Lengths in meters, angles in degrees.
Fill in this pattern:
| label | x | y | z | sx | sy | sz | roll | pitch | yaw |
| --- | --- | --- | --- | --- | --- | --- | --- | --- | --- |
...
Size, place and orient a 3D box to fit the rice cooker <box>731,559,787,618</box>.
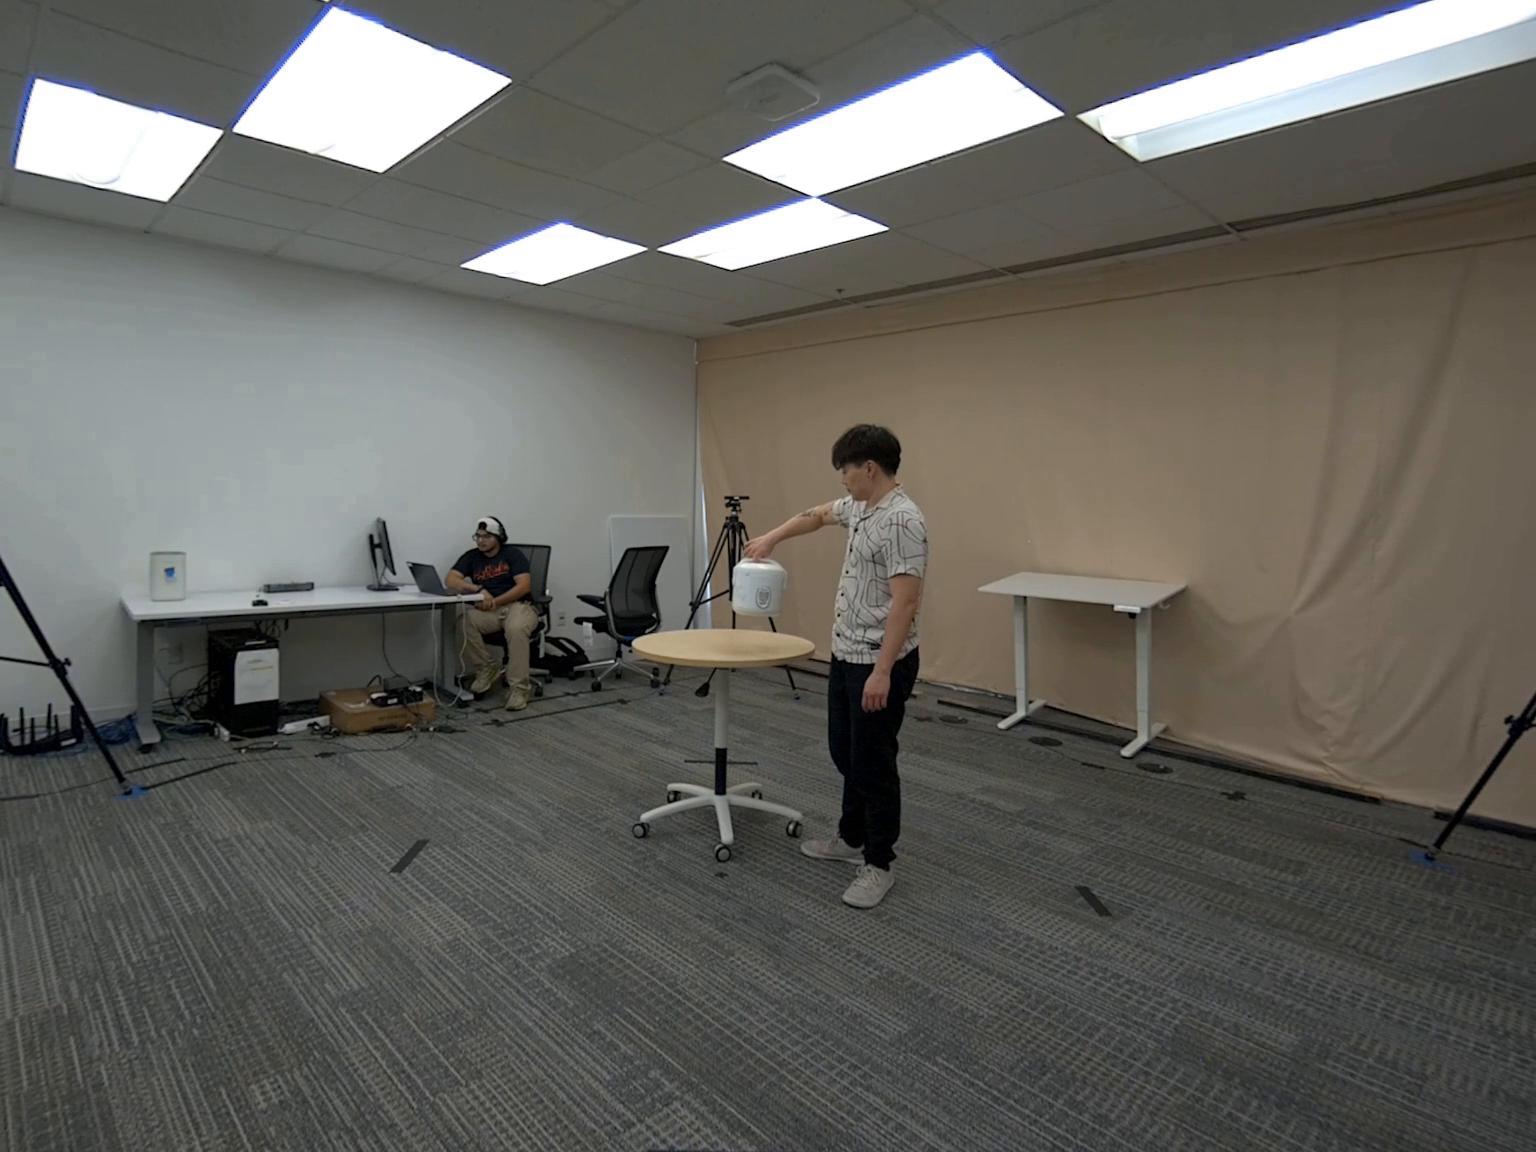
| label | x | y | z | sx | sy | sz | roll | pitch | yaw |
| --- | --- | --- | --- | --- | --- | --- | --- | --- | --- |
| rice cooker | -0.044 | 0.042 | 3.373 | 0.219 | 0.233 | 0.219 | 4 | 1 | -11 |
